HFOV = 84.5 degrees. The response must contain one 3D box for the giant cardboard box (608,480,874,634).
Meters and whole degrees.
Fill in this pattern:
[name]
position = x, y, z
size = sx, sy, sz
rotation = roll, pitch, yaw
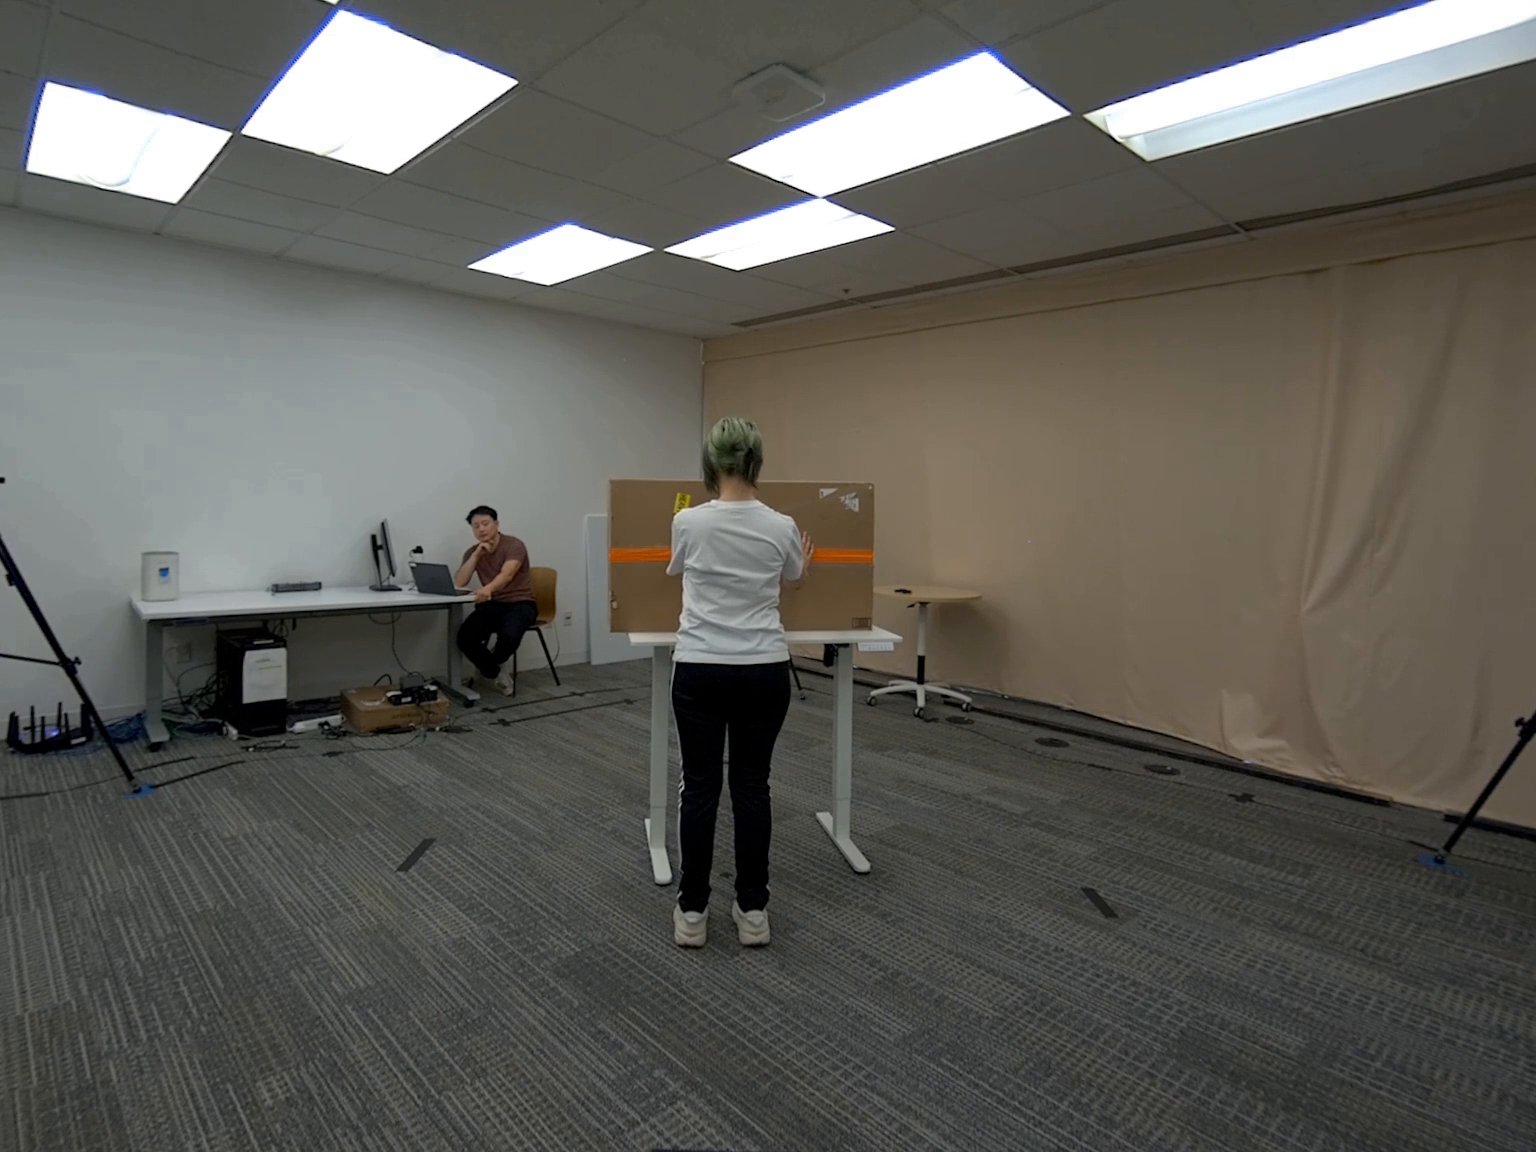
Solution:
[giant cardboard box]
position = -0.137, -0.090, 3.402
size = 1.019, 0.583, 0.451
rotation = 0, 3, -10
